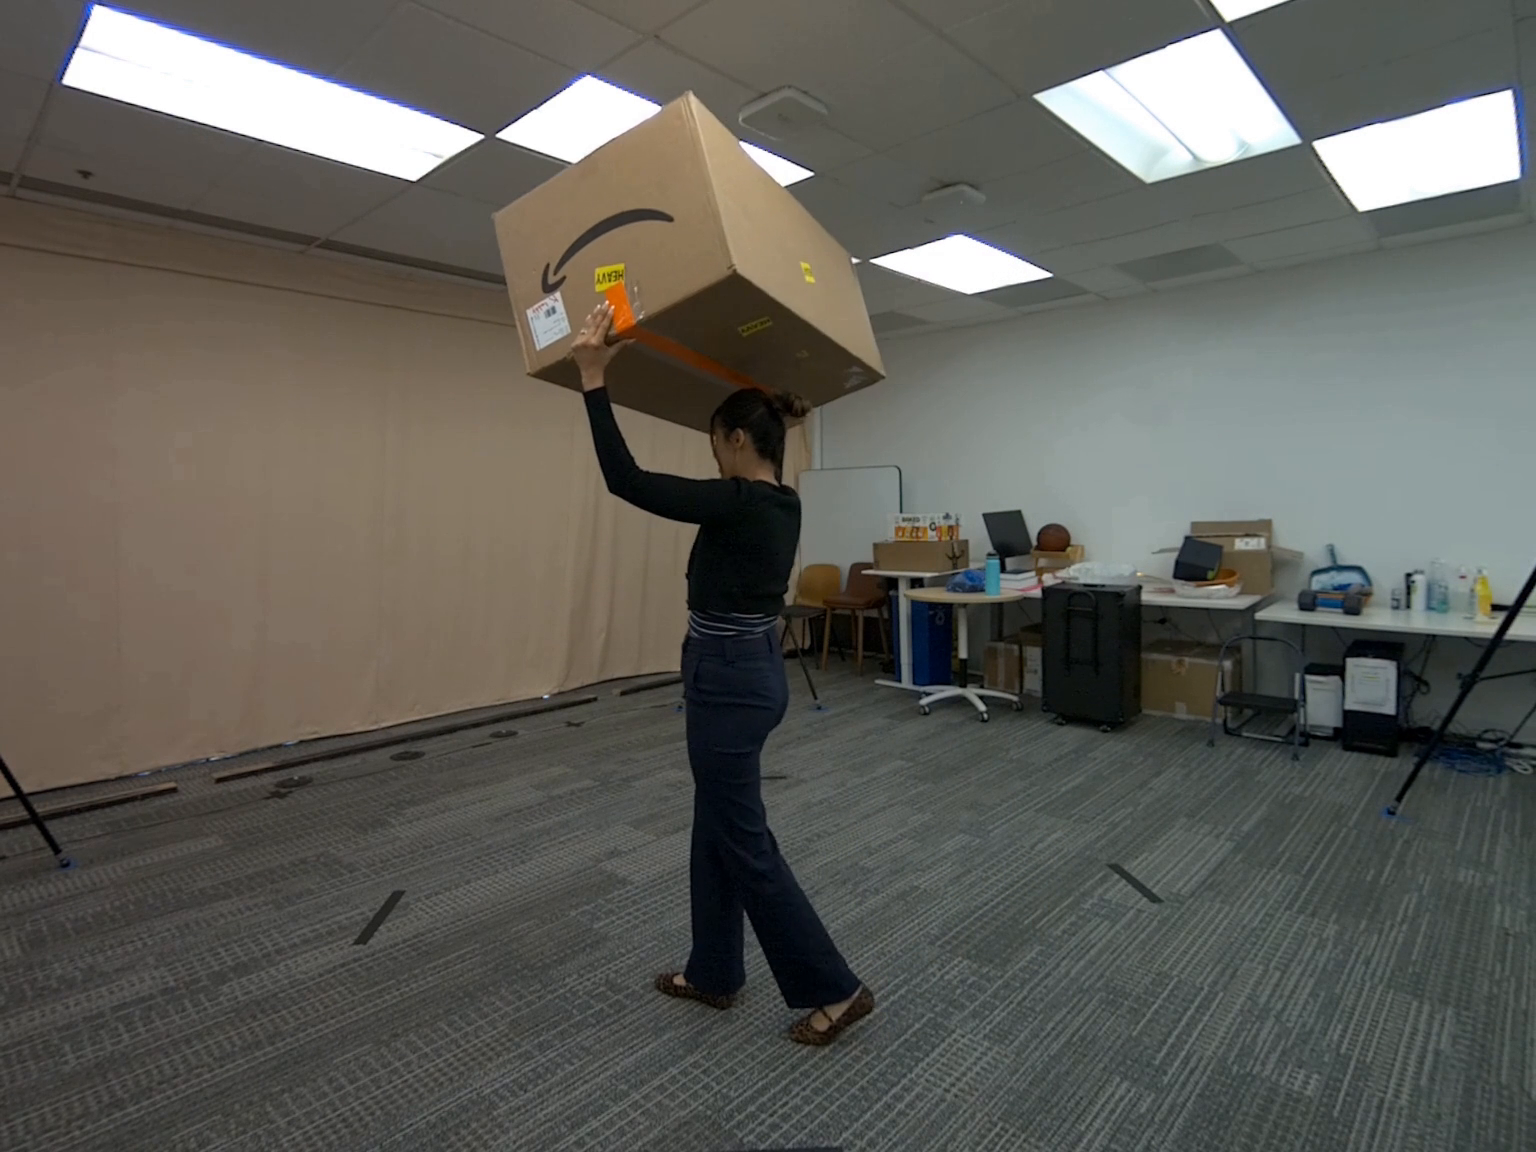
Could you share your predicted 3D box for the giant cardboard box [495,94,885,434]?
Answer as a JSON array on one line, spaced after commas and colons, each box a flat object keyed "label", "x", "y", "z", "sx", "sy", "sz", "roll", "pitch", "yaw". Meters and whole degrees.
[{"label": "giant cardboard box", "x": -0.140, "y": -0.729, "z": 2.304, "sx": 0.589, "sy": 0.429, "sz": 0.998, "roll": -18, "pitch": -9, "yaw": 25}]
